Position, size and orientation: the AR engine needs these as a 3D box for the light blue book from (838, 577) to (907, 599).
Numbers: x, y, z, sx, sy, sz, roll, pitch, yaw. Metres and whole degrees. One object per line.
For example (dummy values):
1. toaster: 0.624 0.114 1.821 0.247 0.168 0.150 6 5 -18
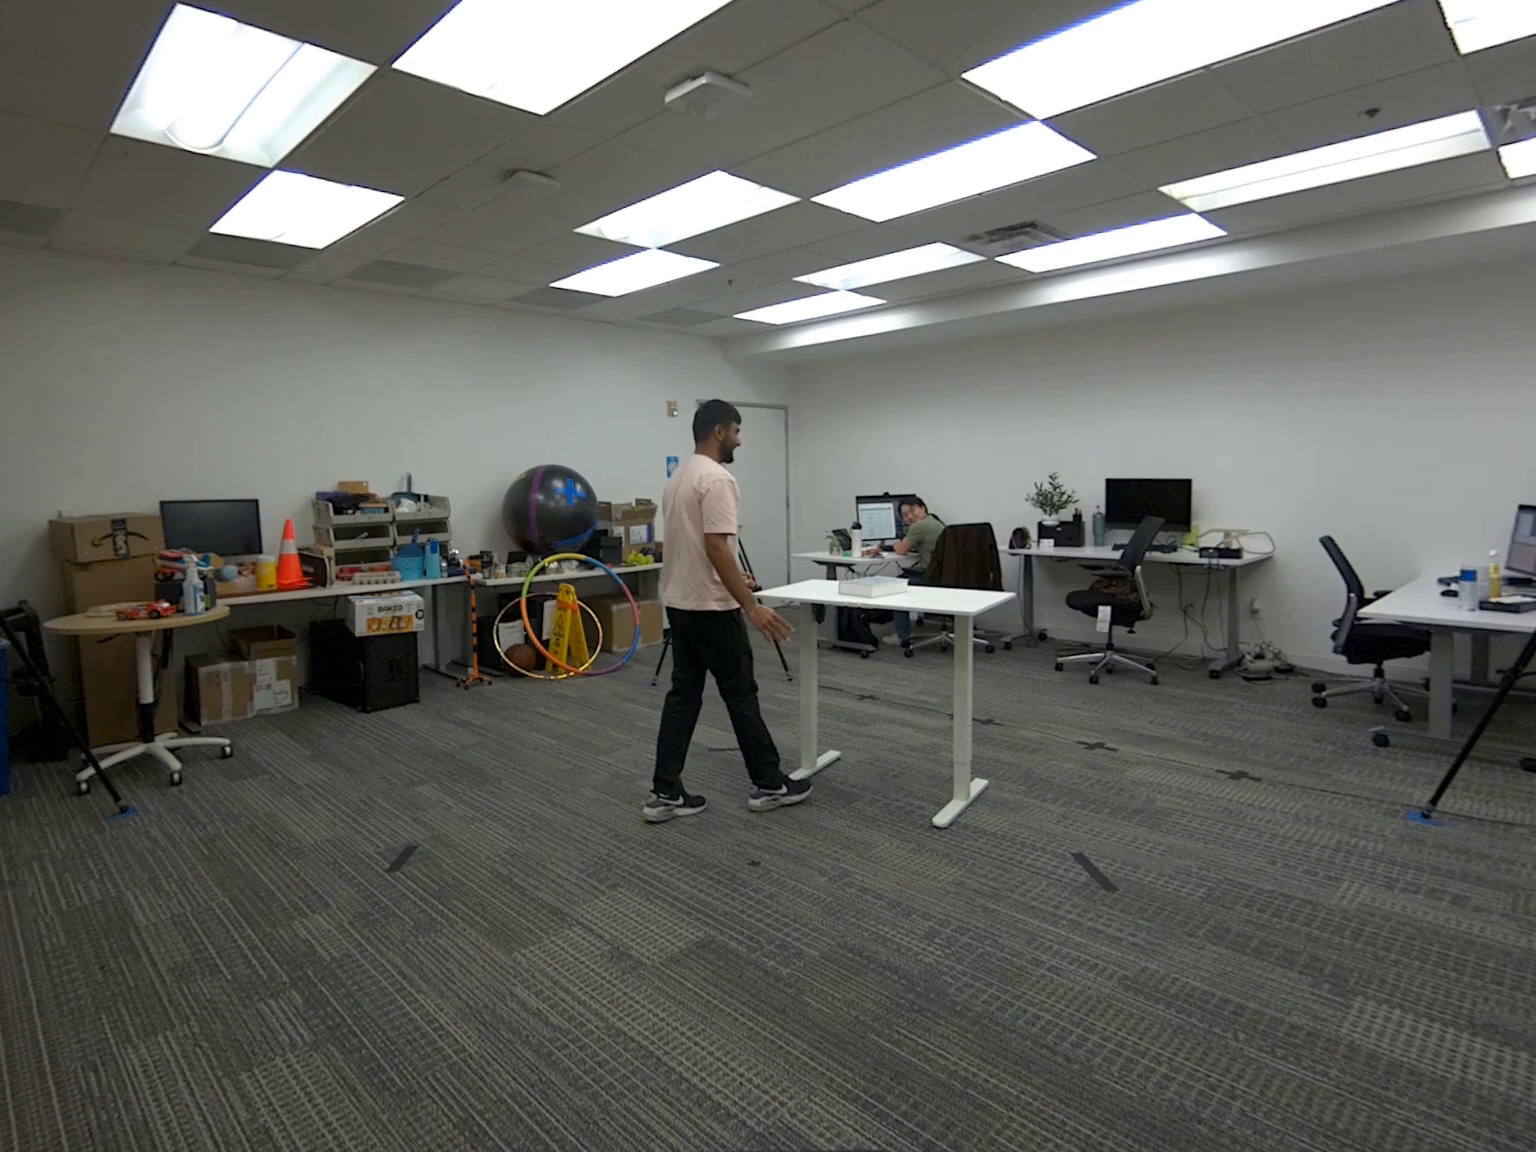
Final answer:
1. light blue book: 0.468 0.046 3.782 0.254 0.059 0.197 -7 9 -44
